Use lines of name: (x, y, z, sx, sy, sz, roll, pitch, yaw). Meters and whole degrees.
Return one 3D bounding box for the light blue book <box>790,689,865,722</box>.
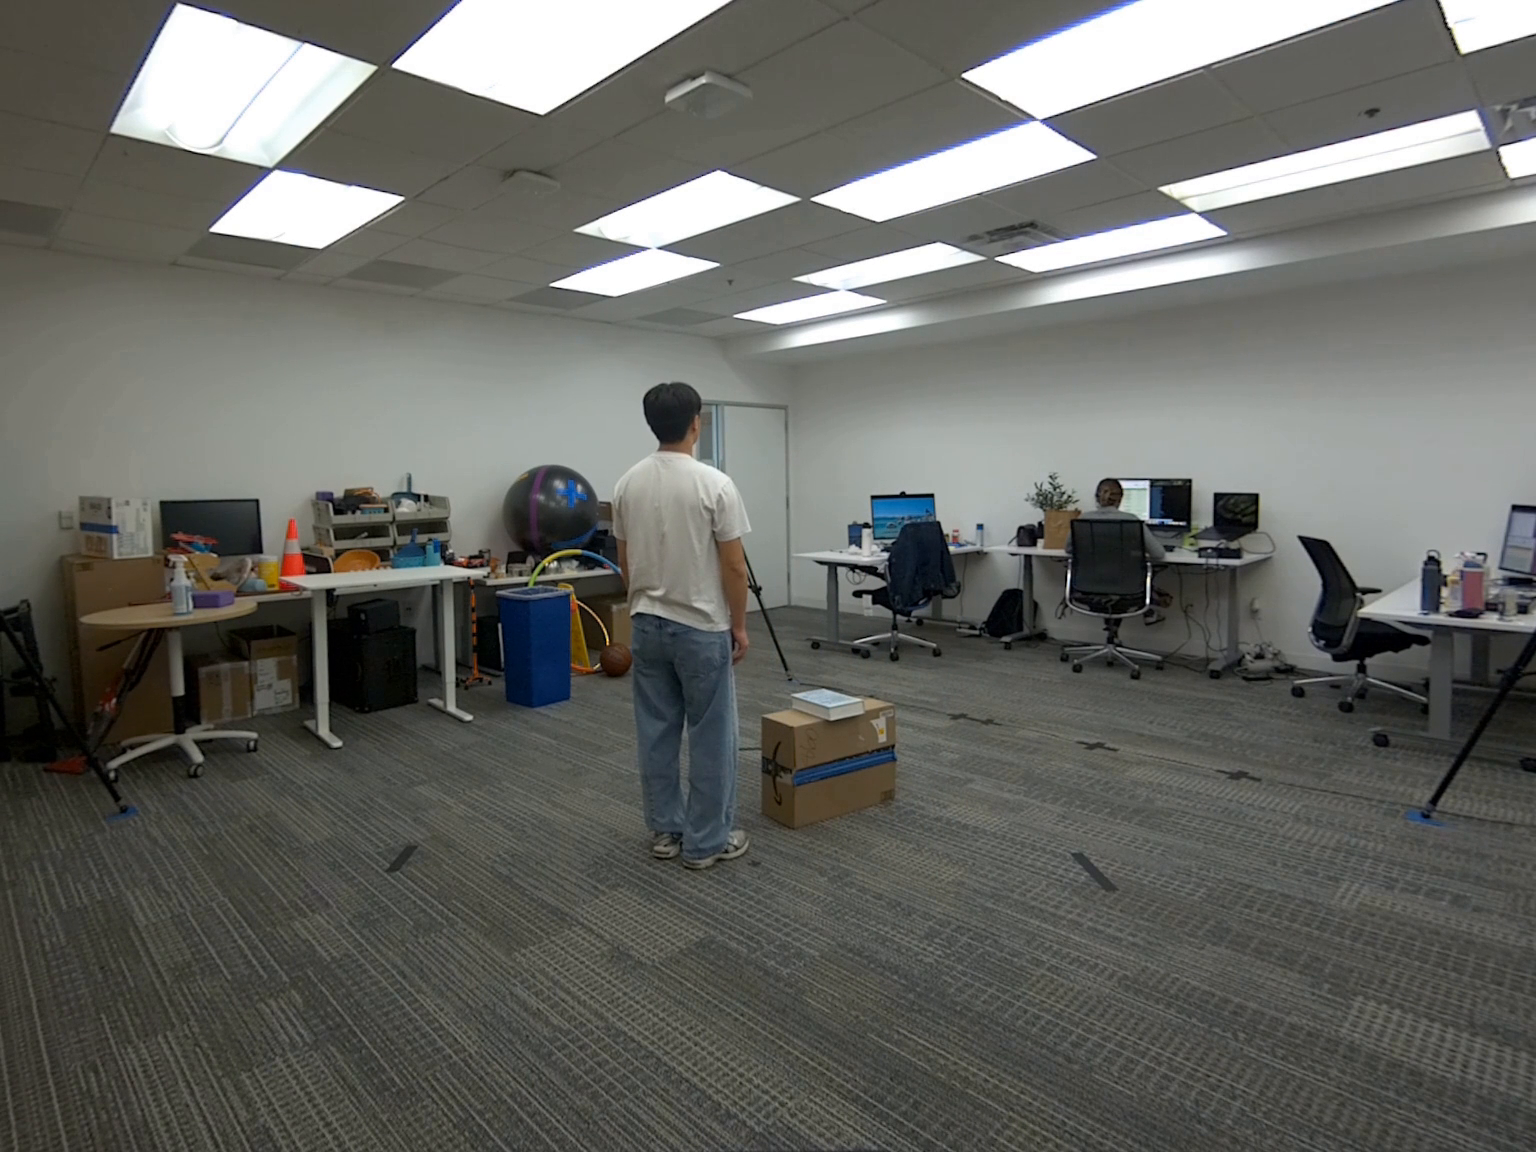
light blue book: (0.254, 0.541, 3.607, 0.187, 0.059, 0.268, -6, 7, -34)
